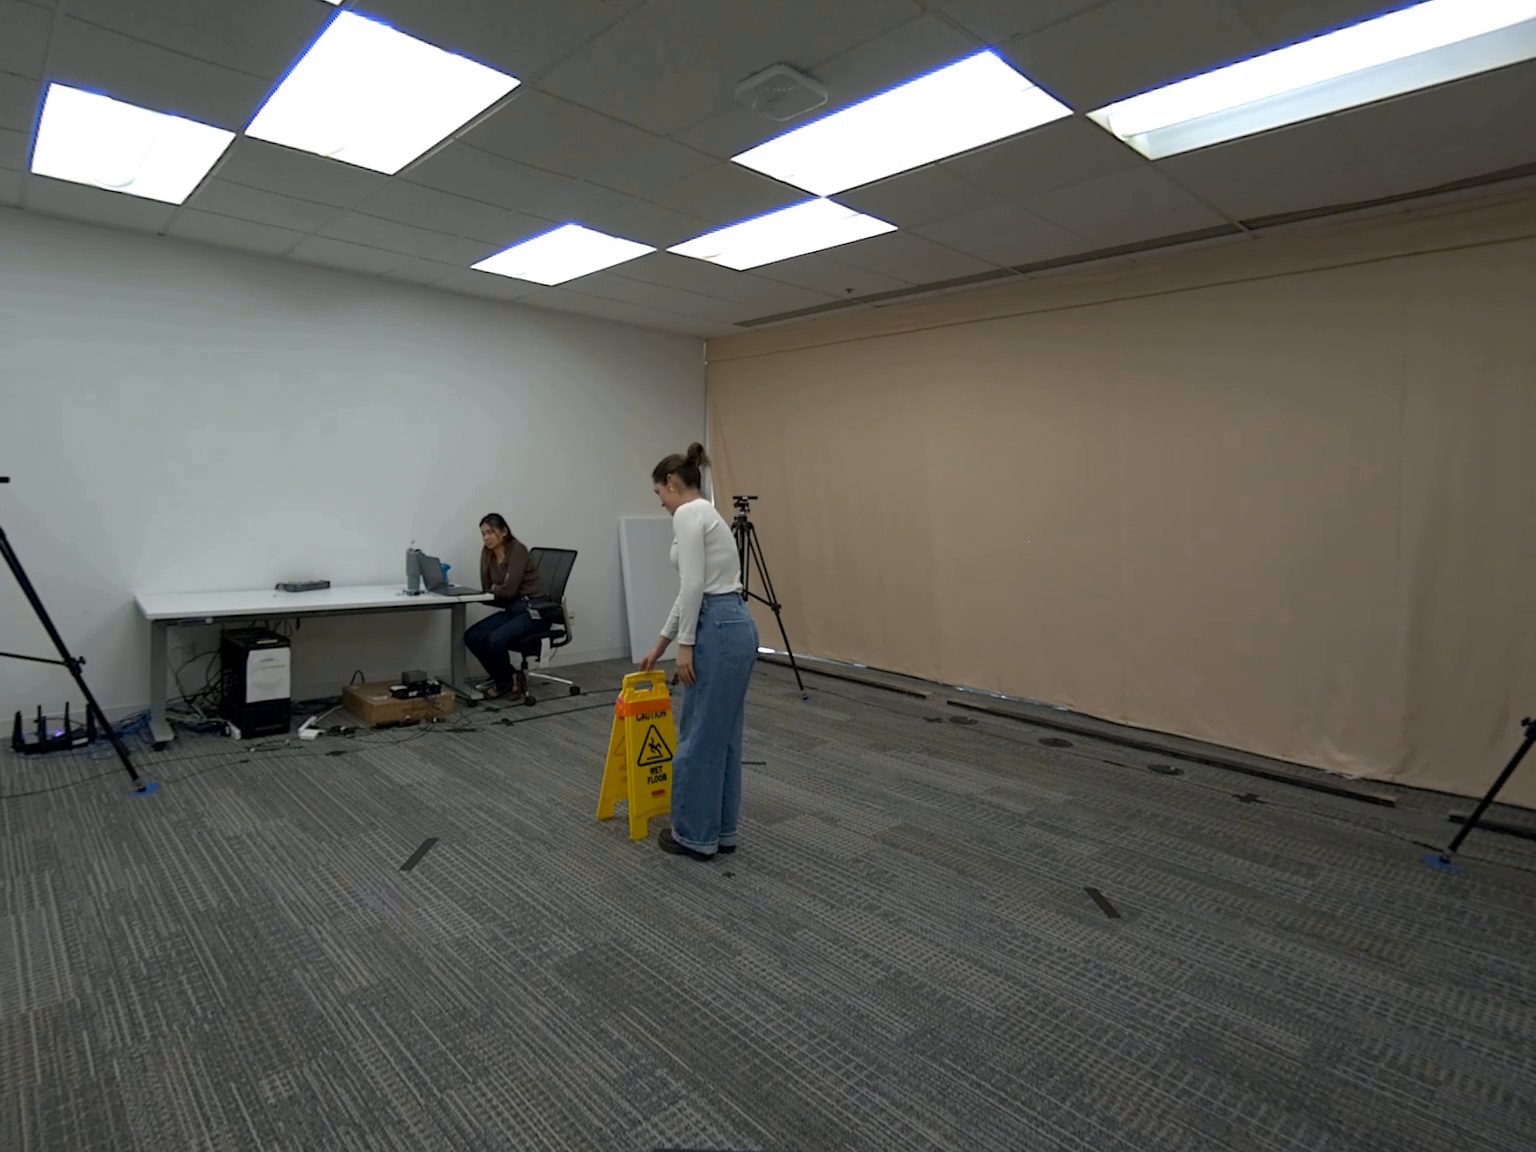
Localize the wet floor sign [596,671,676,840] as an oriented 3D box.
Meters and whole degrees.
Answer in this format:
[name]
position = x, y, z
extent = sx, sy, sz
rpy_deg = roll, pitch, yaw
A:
[wet floor sign]
position = -0.541, 0.730, 3.570
extent = 0.276, 0.645, 0.297
rpy_deg = 0, 3, -41
